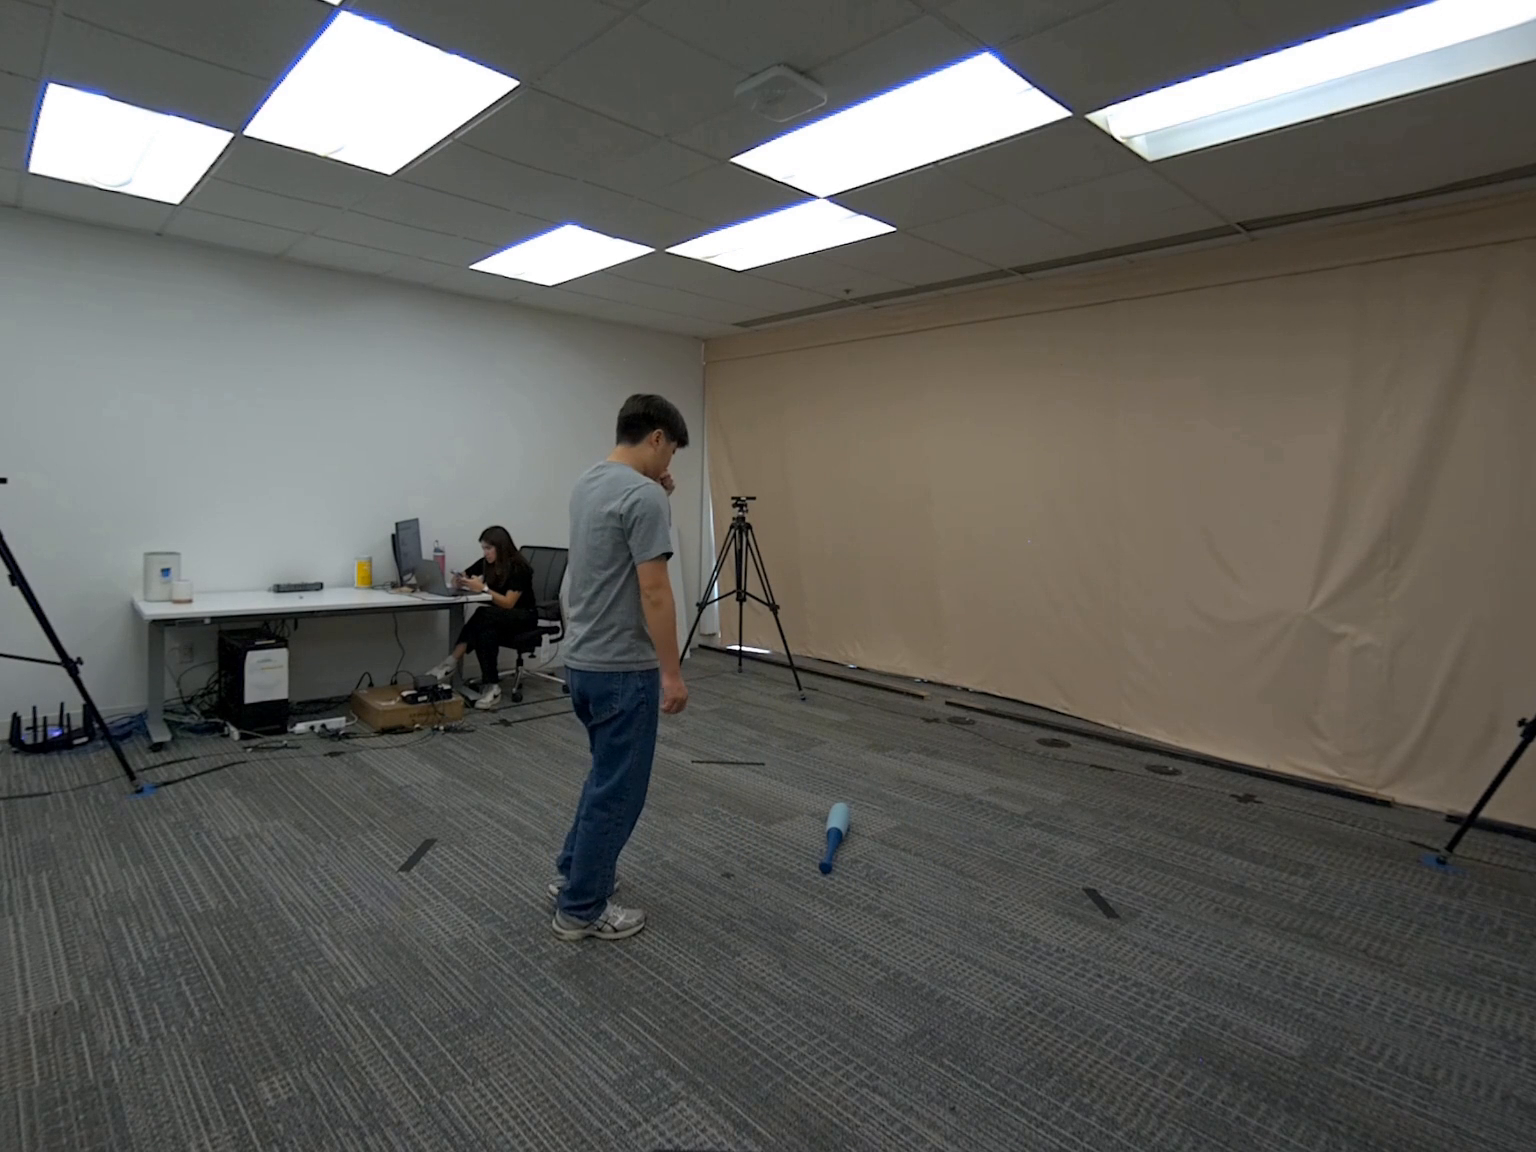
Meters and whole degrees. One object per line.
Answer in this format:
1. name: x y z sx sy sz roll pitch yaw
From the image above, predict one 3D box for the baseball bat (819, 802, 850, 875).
1. baseball bat: 0.258 1.054 3.388 0.090 0.088 0.541 2 8 9
